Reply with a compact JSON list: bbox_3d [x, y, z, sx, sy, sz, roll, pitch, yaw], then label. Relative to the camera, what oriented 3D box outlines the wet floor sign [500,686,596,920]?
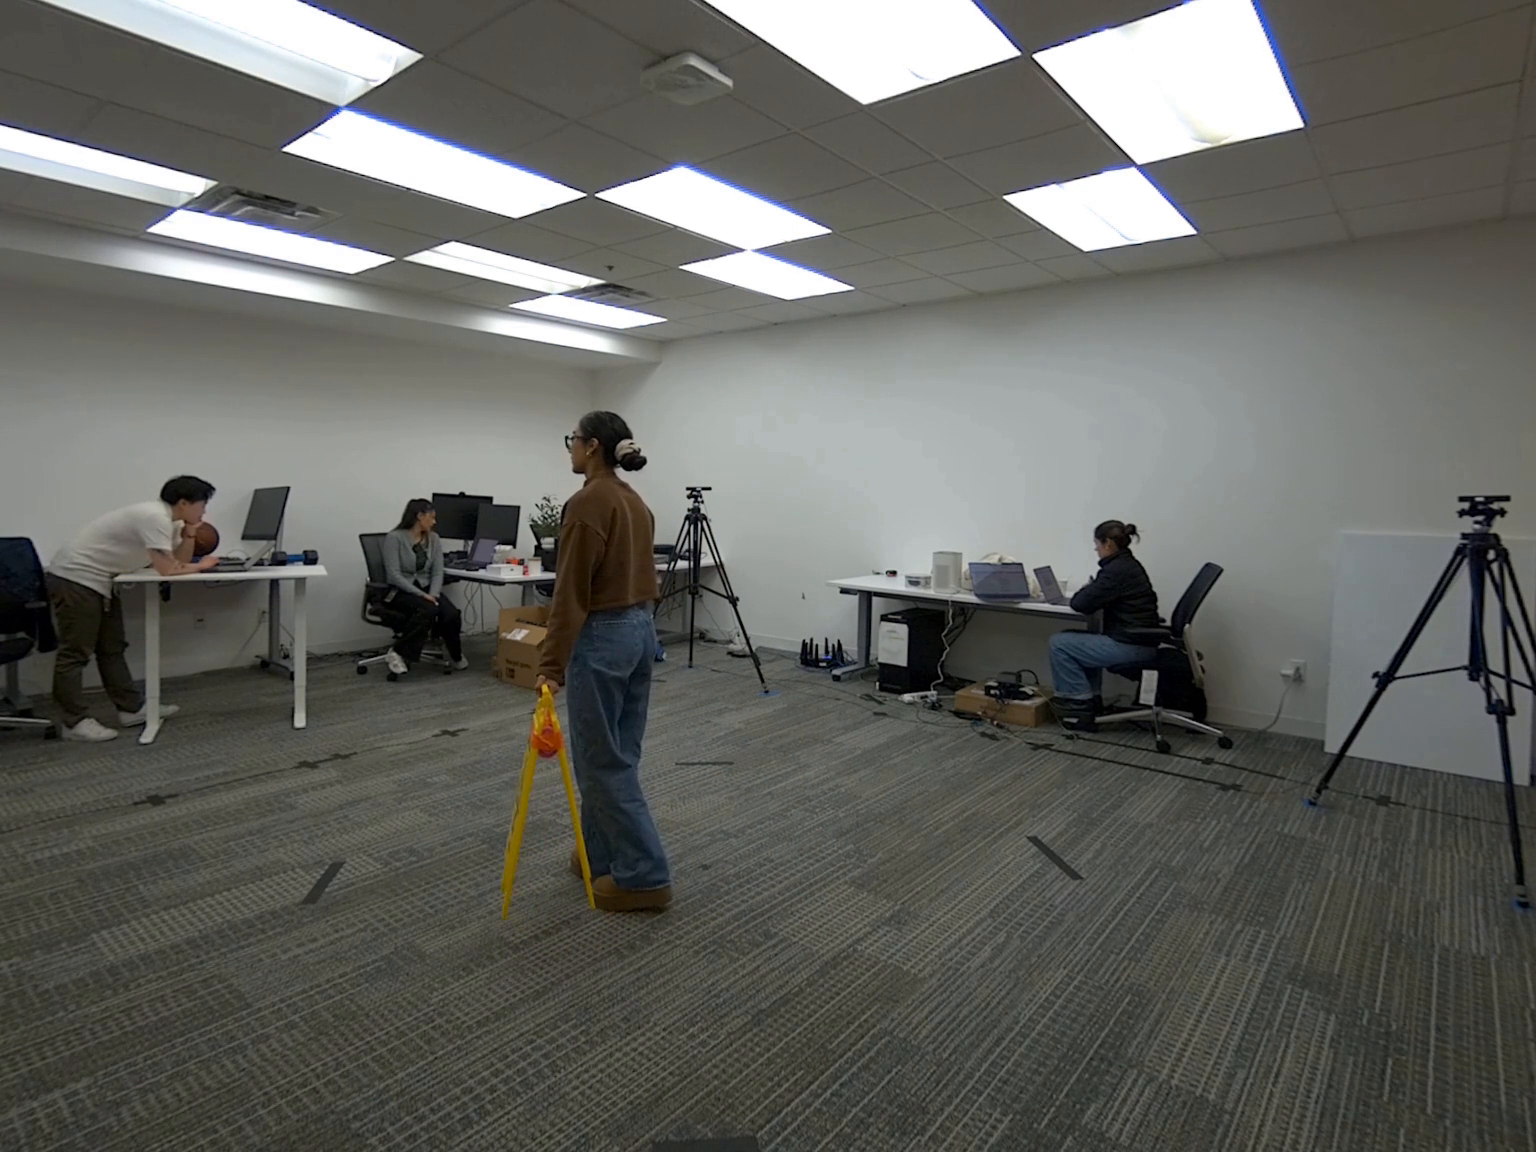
[{"bbox_3d":[-0.689,0.655,2.596,0.285,0.645,0.287,1,2,-15],"label":"wet floor sign"}]
